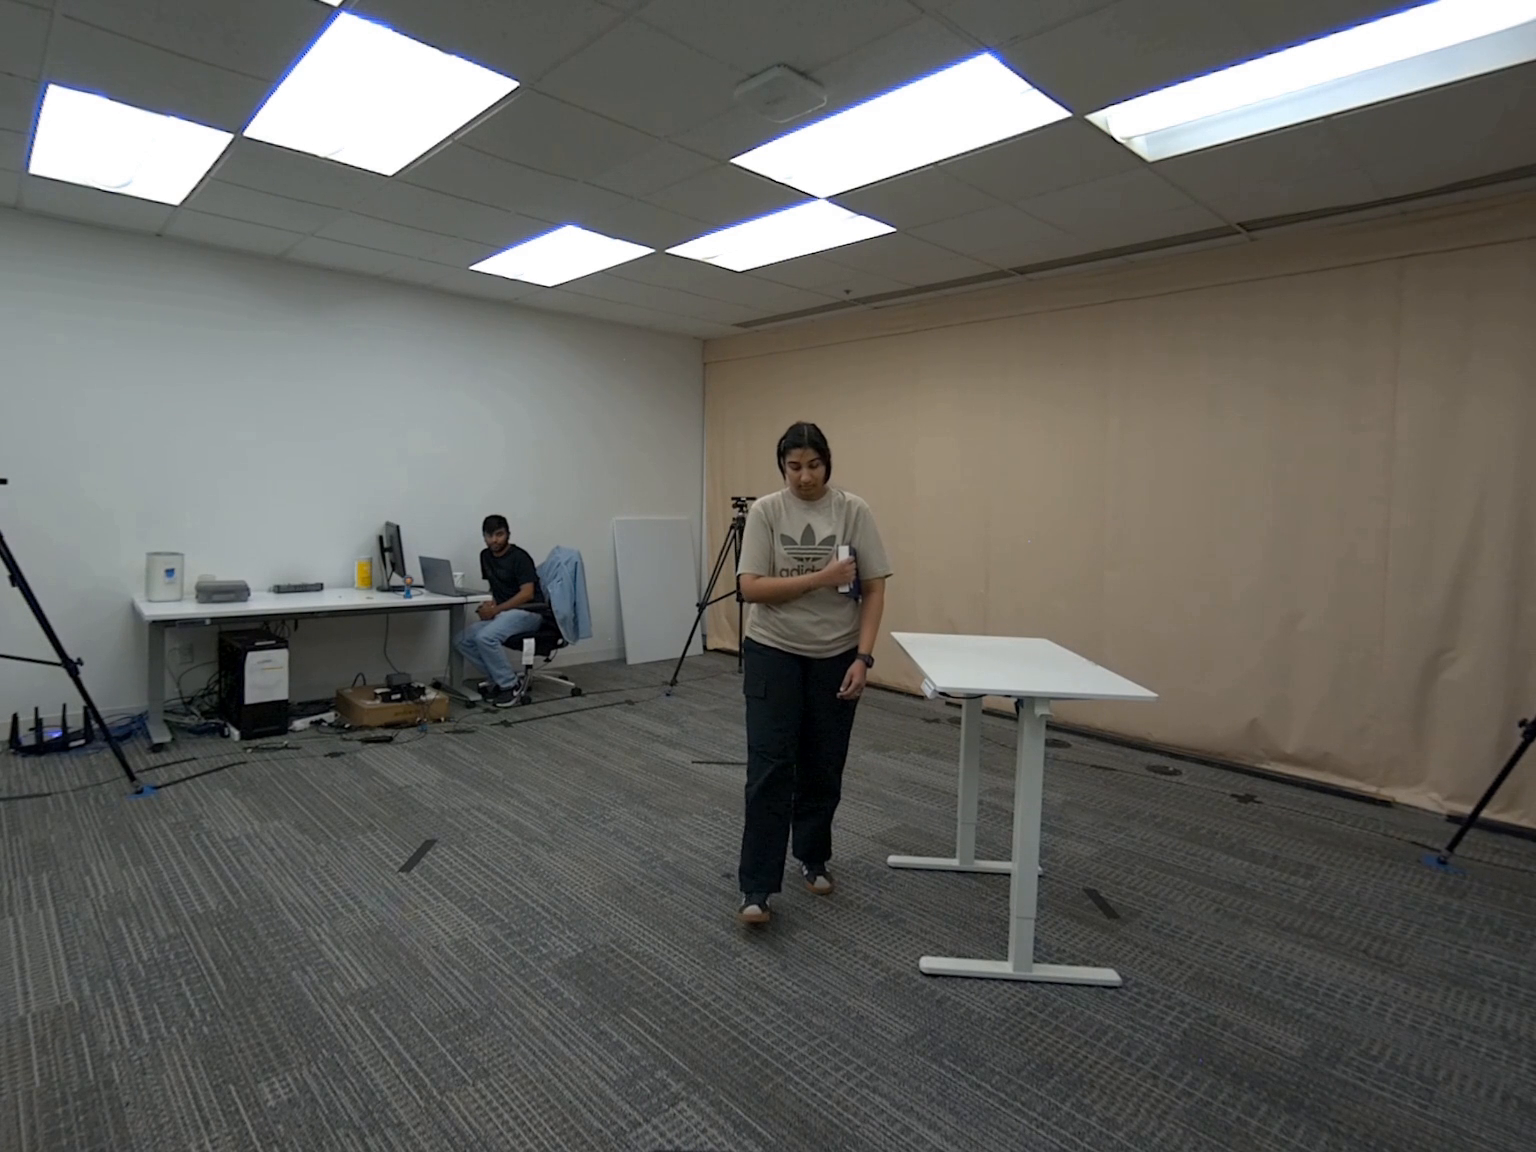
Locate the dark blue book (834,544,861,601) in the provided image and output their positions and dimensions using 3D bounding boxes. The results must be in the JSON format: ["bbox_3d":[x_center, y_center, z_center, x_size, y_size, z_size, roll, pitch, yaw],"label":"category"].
[{"bbox_3d":[0.265,-0.016,2.904,0.046,0.164,0.240,-1,-8,17],"label":"dark blue book"}]
